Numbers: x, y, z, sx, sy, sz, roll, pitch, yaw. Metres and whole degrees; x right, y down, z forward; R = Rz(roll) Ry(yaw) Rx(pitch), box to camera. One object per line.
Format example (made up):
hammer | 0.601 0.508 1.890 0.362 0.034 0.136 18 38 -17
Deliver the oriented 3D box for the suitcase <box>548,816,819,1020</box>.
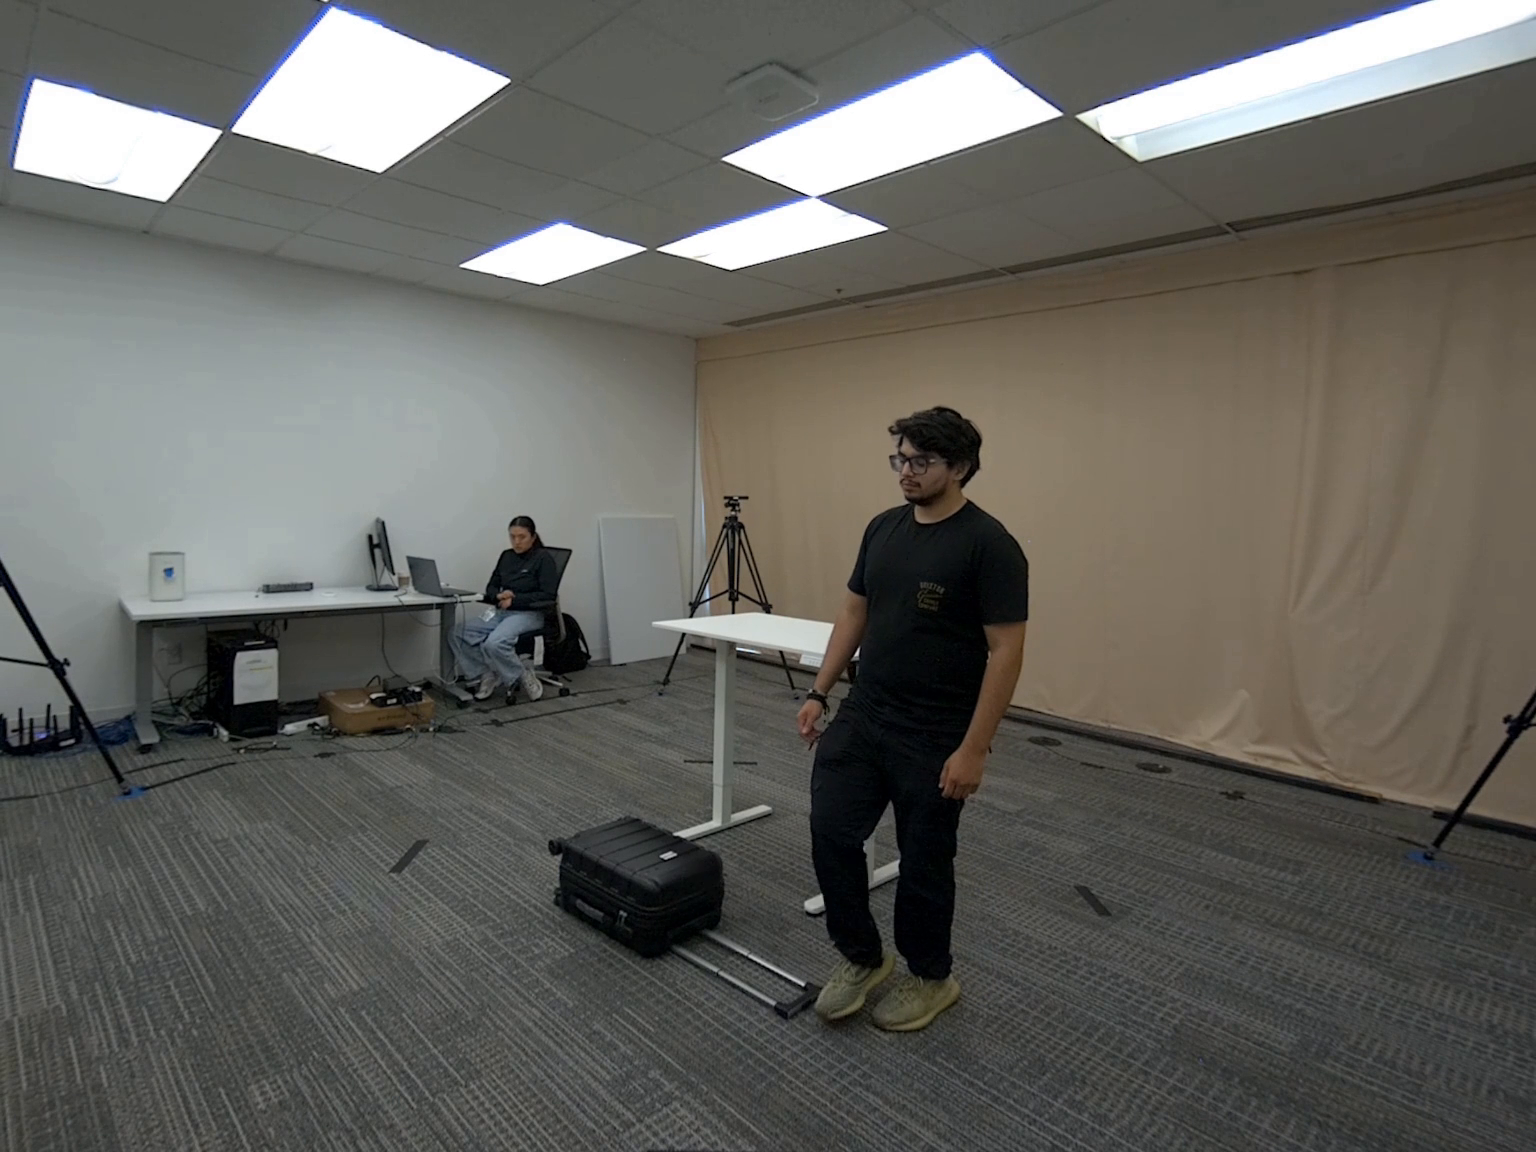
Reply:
suitcase | -0.275 1.018 2.630 1.003 0.257 0.375 4 4 42
